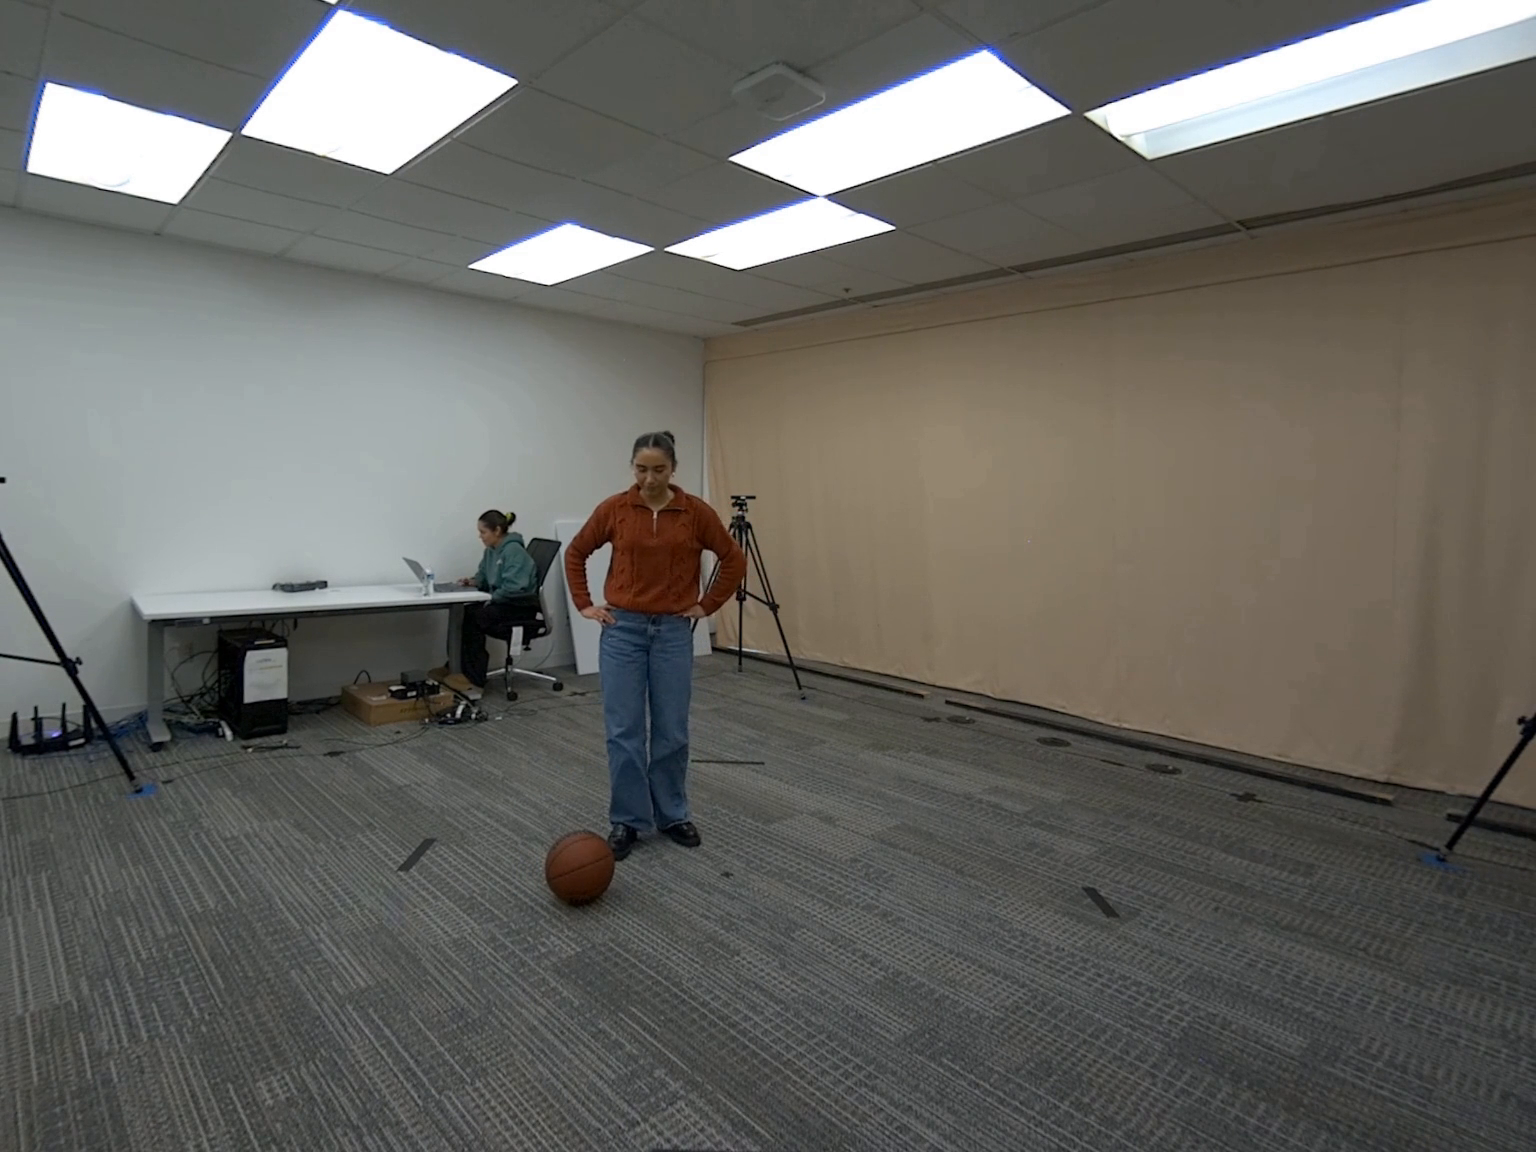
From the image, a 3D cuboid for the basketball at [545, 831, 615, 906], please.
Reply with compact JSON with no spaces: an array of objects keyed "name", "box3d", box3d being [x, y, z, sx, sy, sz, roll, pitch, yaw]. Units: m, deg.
[{"name":"basketball","box3d":[-0.654,0.995,2.869,0.236,0.235,0.237,1,4,-1]}]
